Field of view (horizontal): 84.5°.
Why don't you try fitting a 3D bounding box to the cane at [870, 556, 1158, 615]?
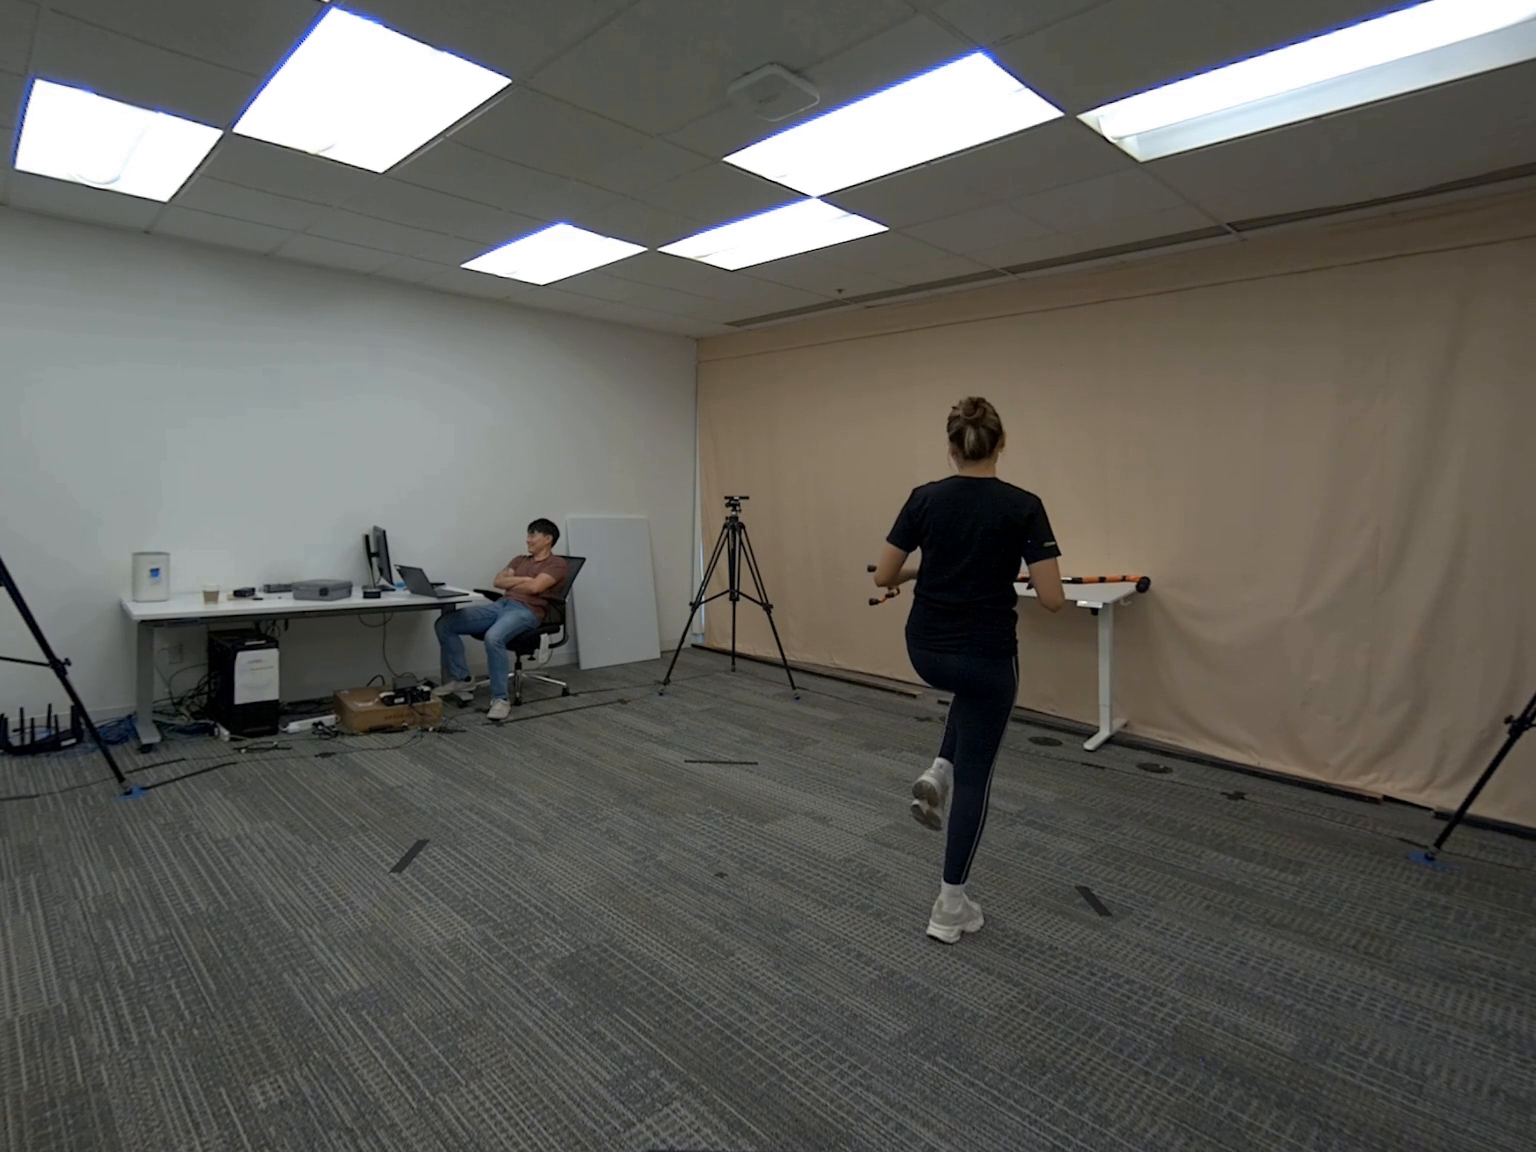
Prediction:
[{"bbox_3d":[0.818,0.019,2.907,0.927,0.151,0.203,1,7,31],"label":"cane"}]
